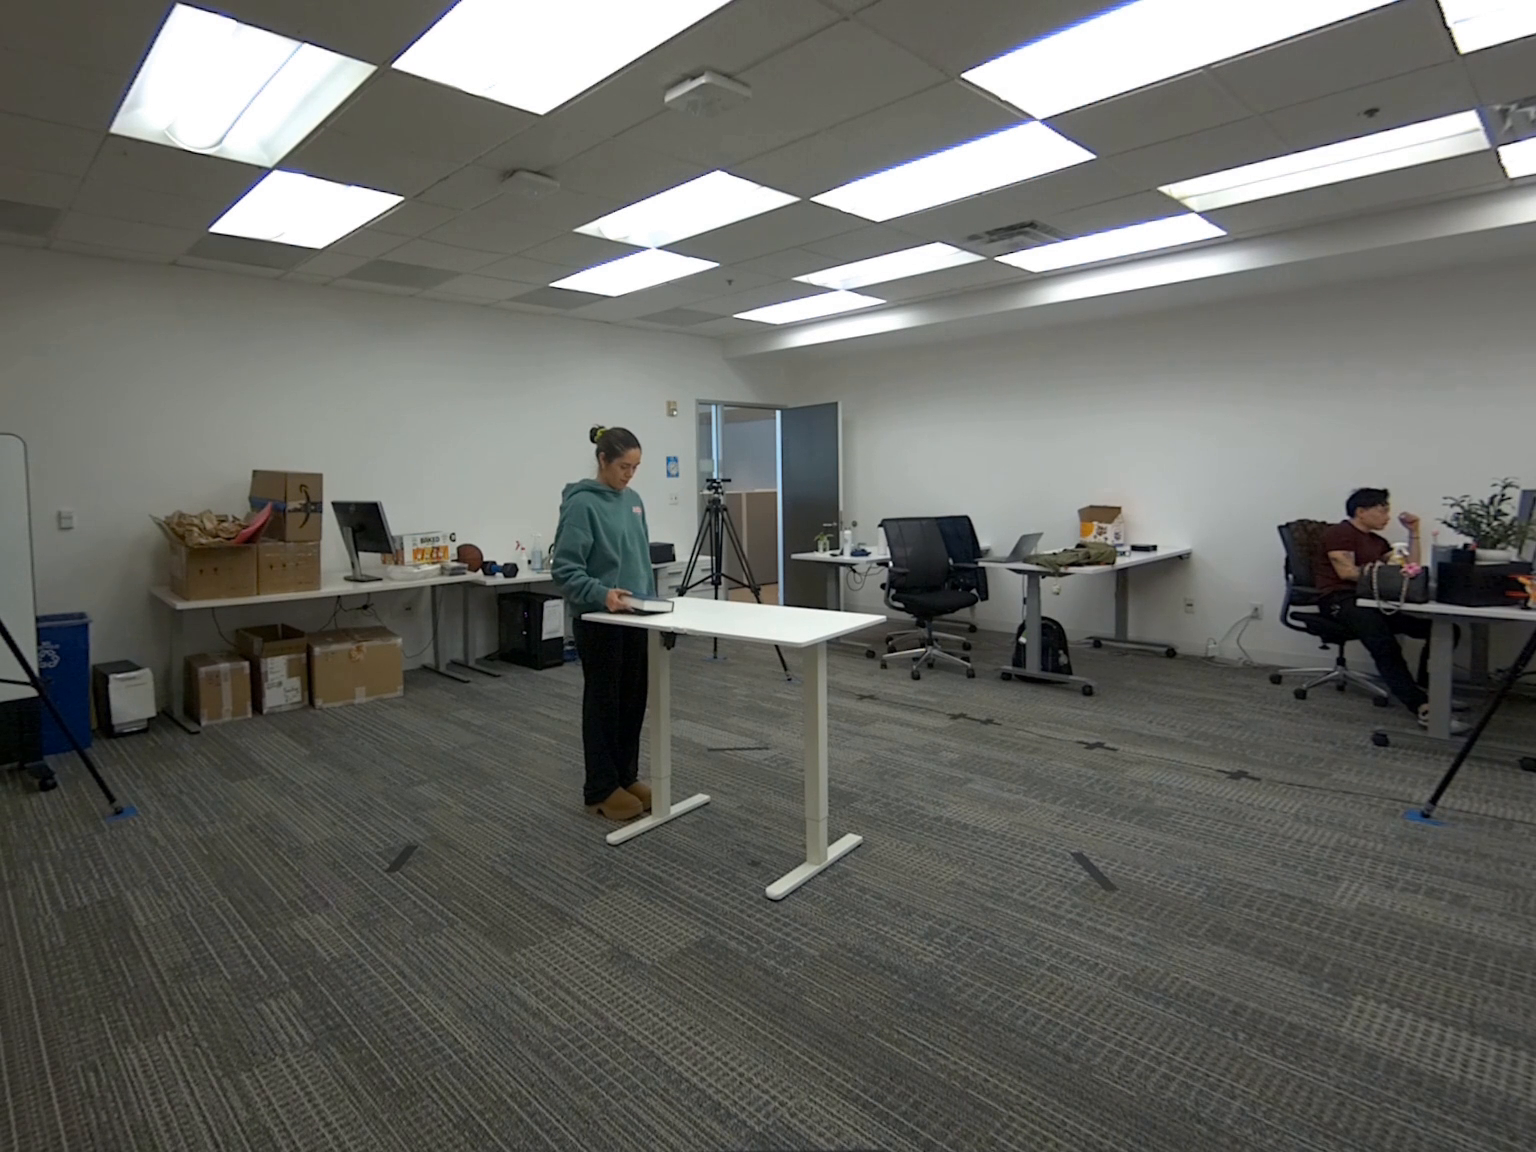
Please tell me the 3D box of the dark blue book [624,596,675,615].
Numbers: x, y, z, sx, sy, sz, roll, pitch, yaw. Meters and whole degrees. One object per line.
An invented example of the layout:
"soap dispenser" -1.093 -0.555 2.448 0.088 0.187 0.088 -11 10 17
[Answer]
"dark blue book" -0.510 0.100 3.367 0.253 0.045 0.158 9 2 41
